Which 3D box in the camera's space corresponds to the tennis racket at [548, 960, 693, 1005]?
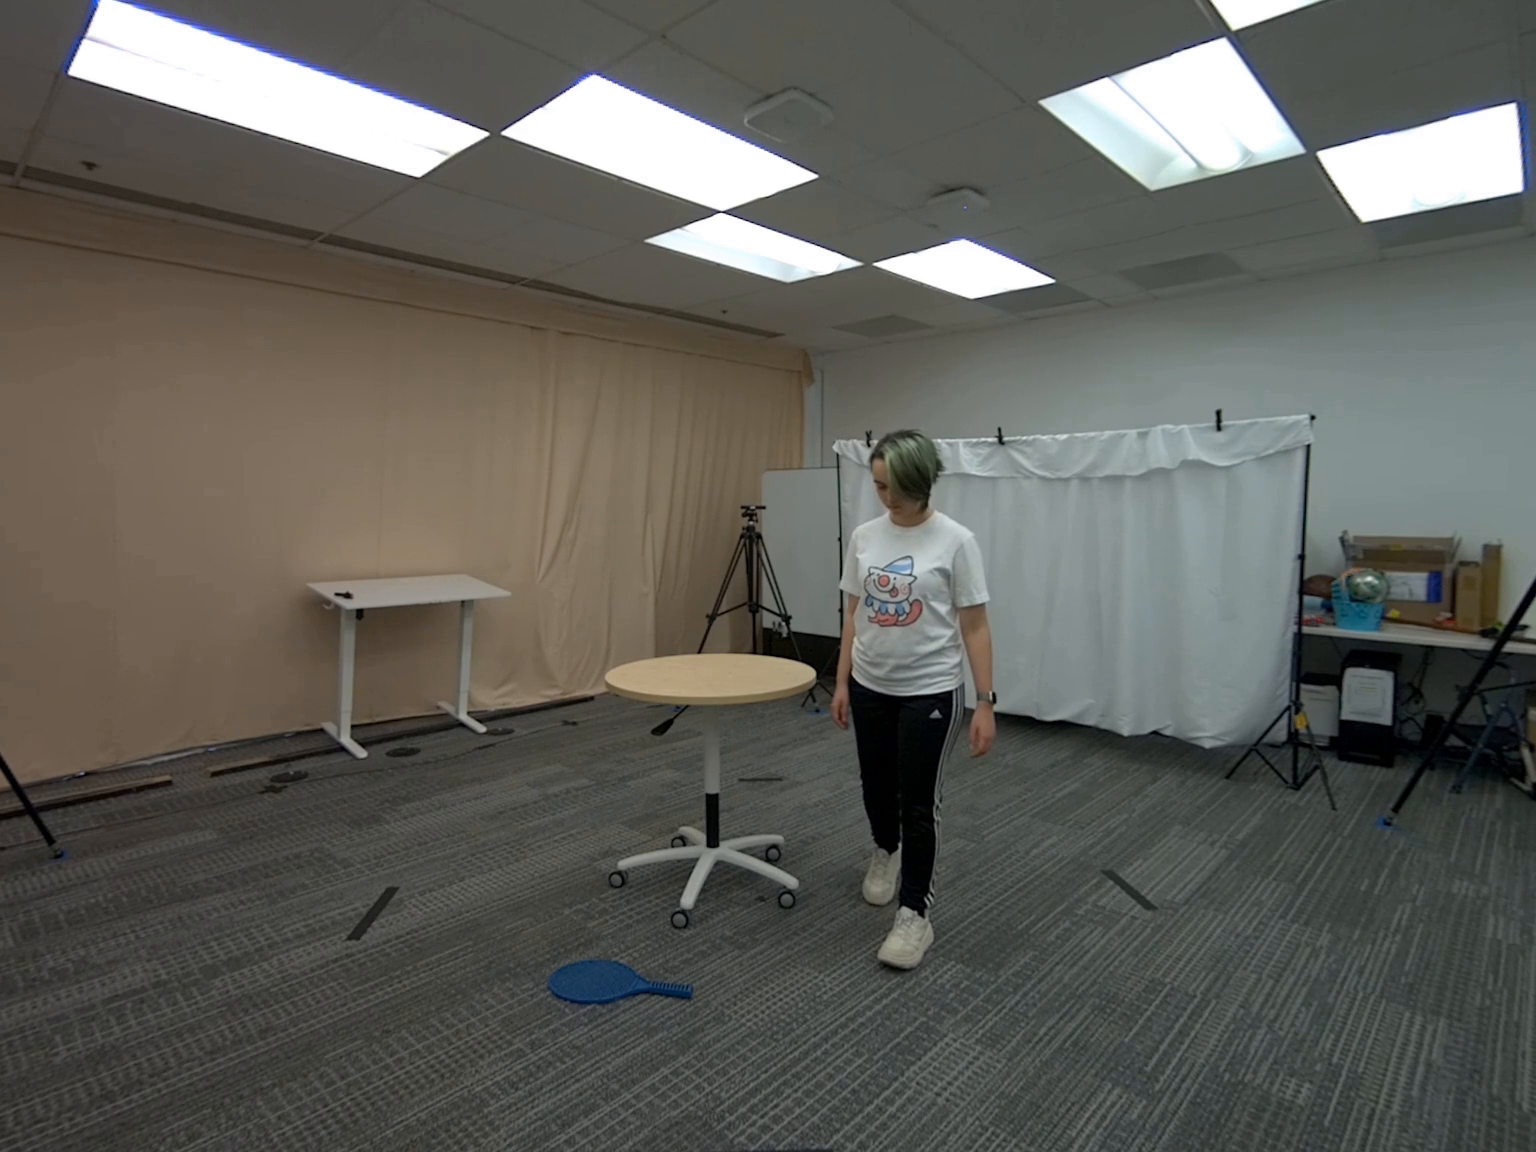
[{"bbox_3d":[-0.430,1.178,2.440,0.439,0.032,0.211,-1,4,13],"label":"tennis racket"}]
